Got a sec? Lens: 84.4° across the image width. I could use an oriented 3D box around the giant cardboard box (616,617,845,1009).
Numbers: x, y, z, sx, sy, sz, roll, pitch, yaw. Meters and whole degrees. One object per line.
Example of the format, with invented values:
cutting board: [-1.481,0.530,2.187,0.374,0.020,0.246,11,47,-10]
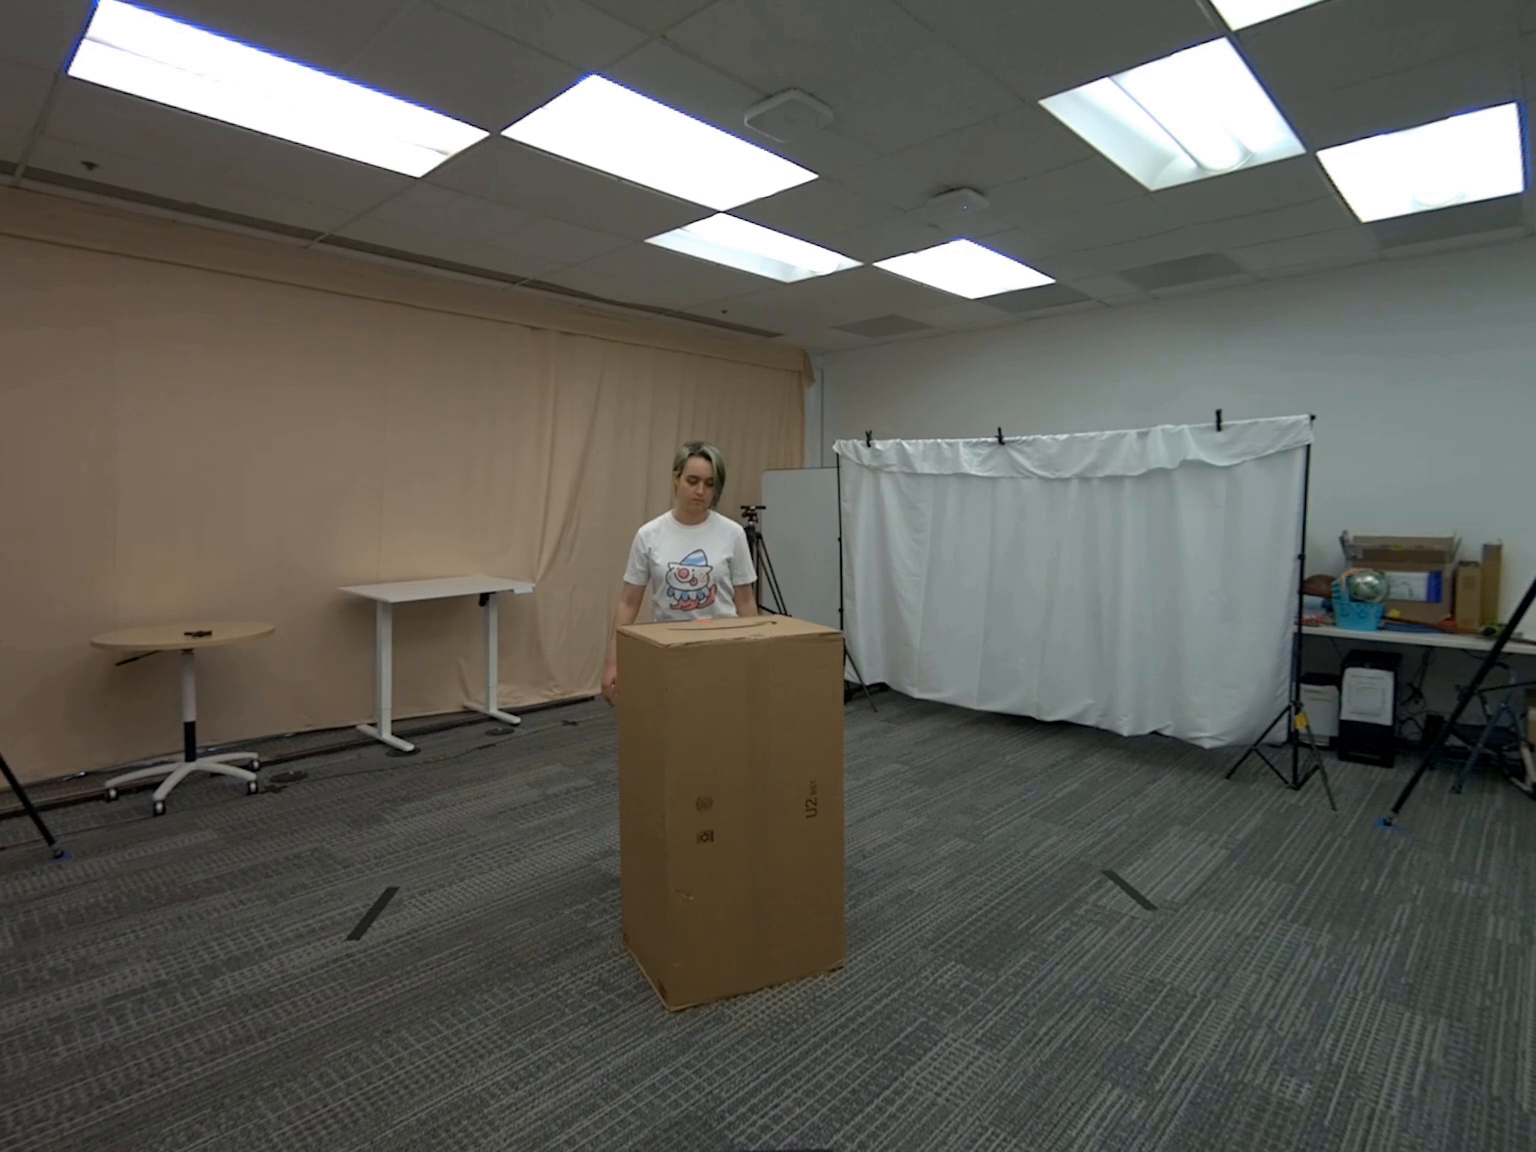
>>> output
giant cardboard box: [-0.116,0.670,2.588,0.569,1.024,0.459,-2,4,-27]
